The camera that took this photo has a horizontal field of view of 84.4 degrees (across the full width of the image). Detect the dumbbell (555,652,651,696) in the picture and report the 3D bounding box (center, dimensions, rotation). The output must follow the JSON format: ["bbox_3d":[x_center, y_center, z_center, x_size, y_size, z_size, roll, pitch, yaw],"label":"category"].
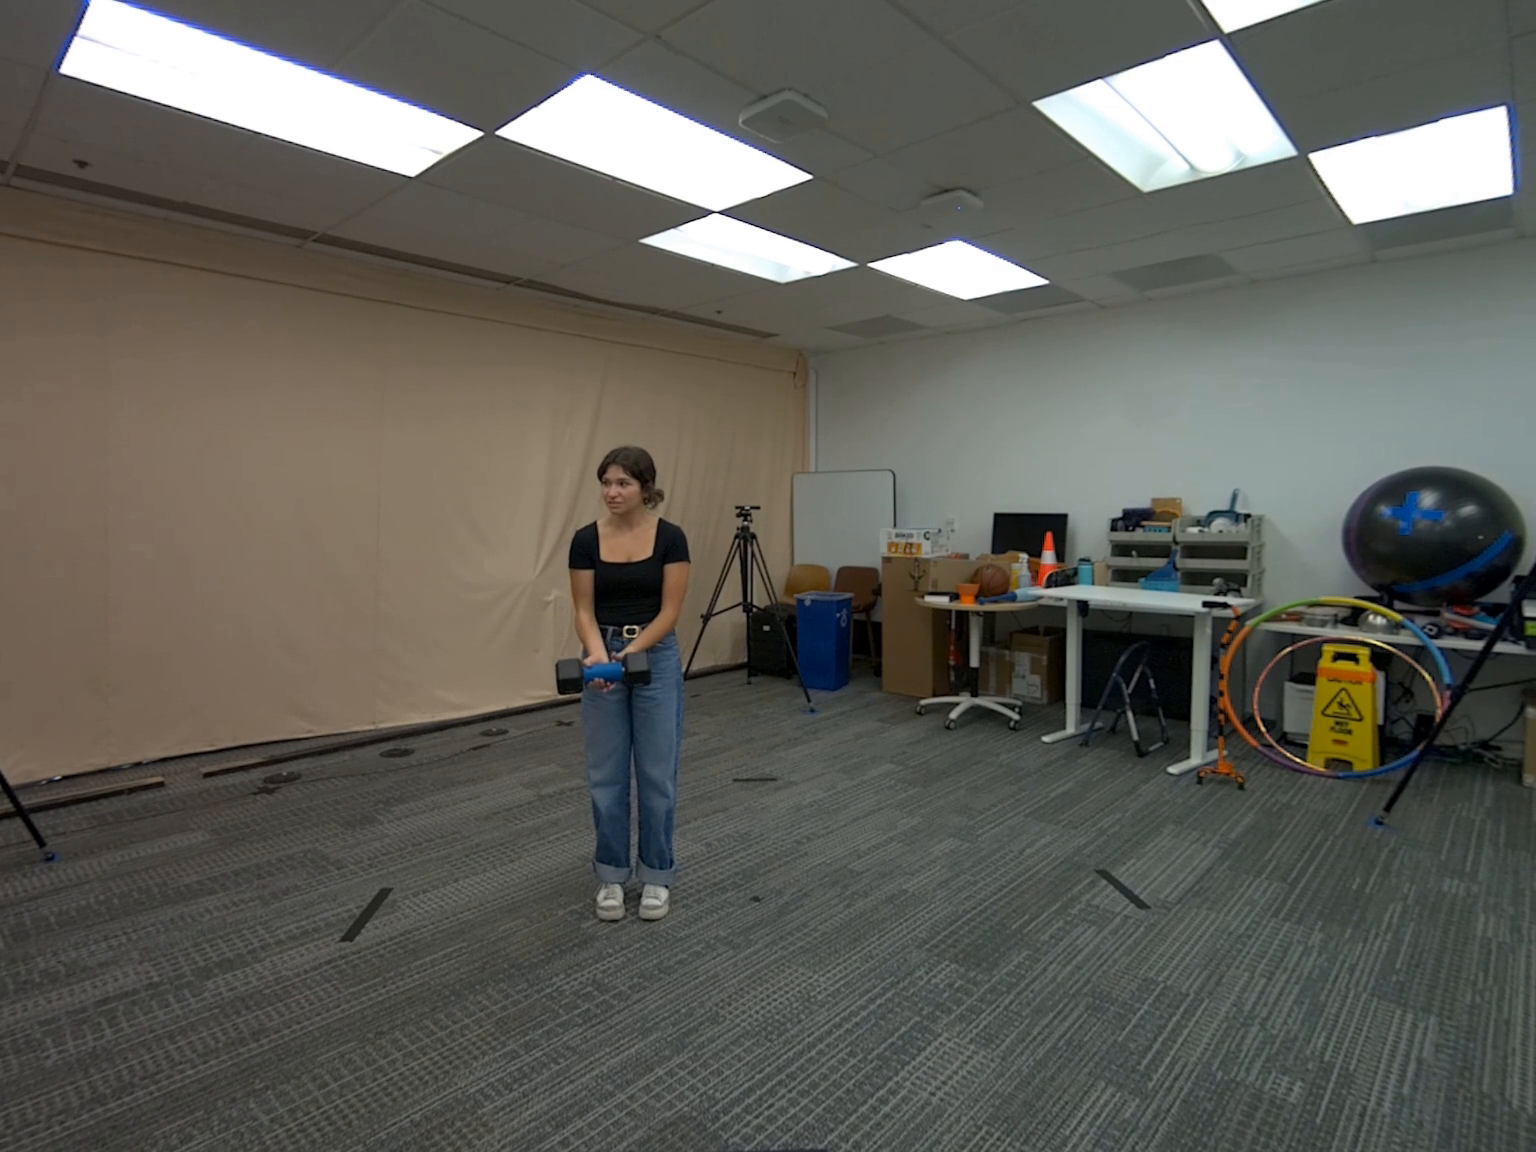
[{"bbox_3d":[-0.528,0.296,2.645,0.291,0.125,0.107,-4,-33,-9],"label":"dumbbell"}]
